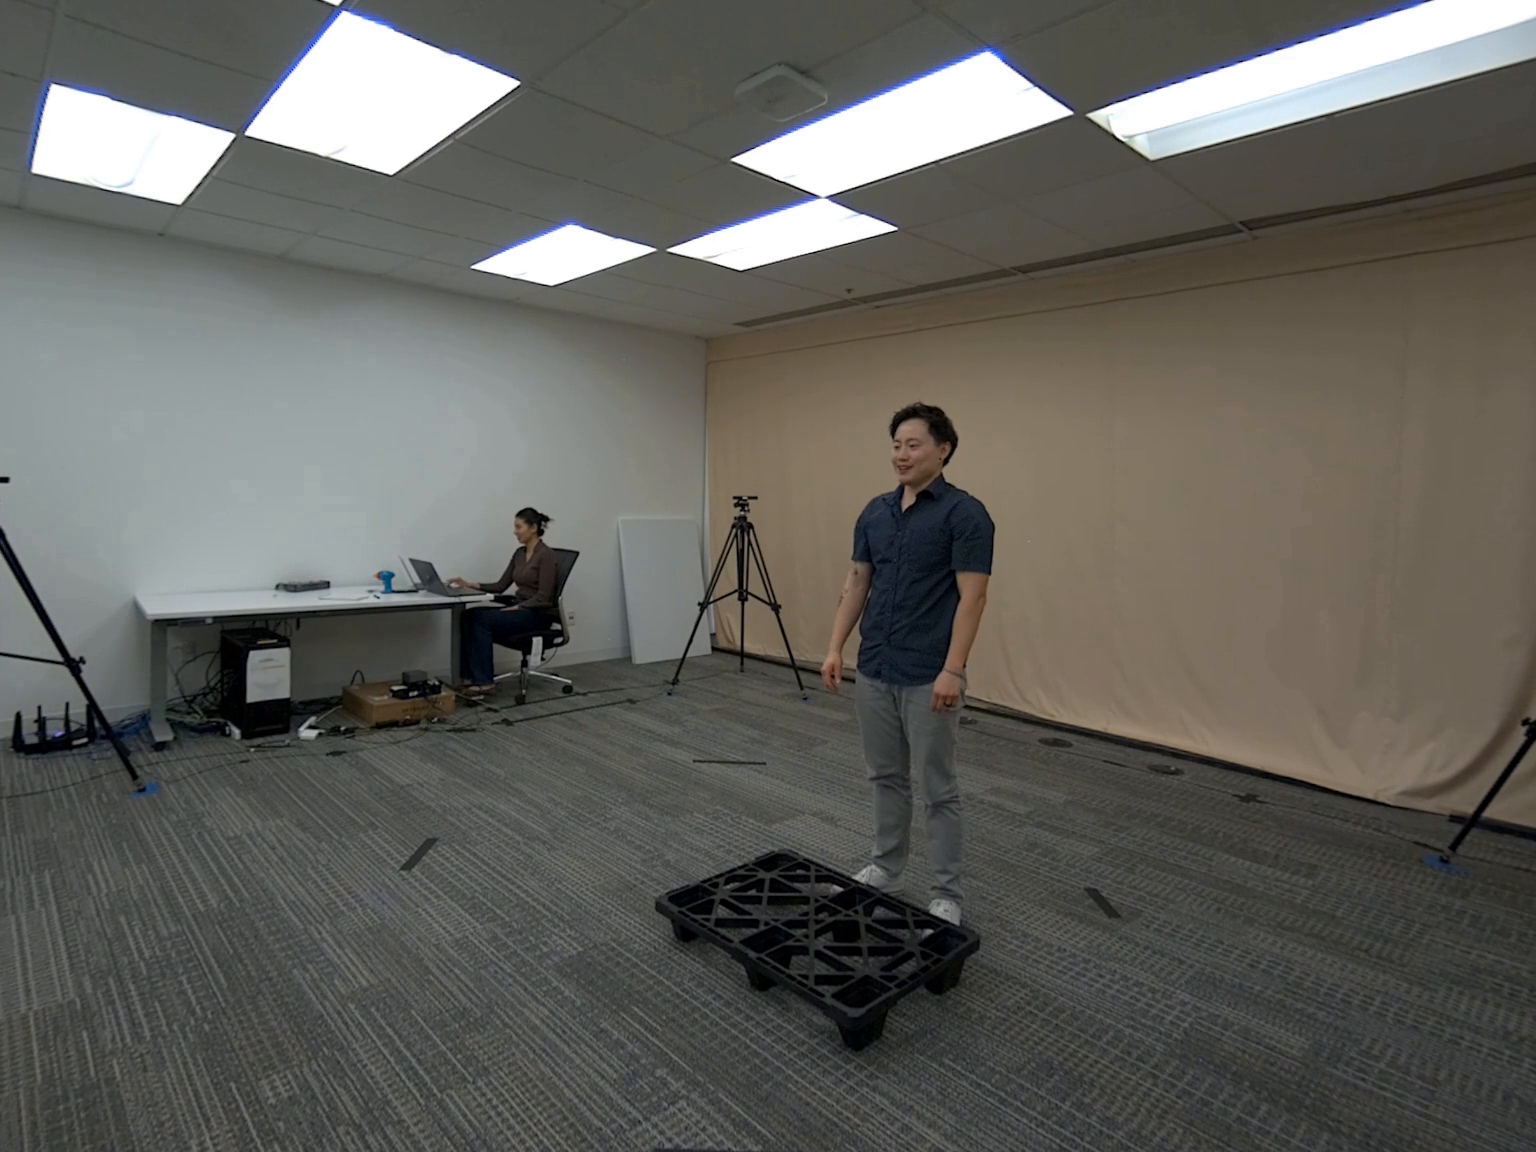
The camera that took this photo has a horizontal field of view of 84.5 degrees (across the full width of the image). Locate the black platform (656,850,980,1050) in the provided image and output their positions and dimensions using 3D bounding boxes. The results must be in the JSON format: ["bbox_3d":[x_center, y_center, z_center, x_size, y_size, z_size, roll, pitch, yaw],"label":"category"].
[{"bbox_3d":[0.119,1.098,2.534,0.592,0.143,0.826,-5,8,-44],"label":"black platform"}]
